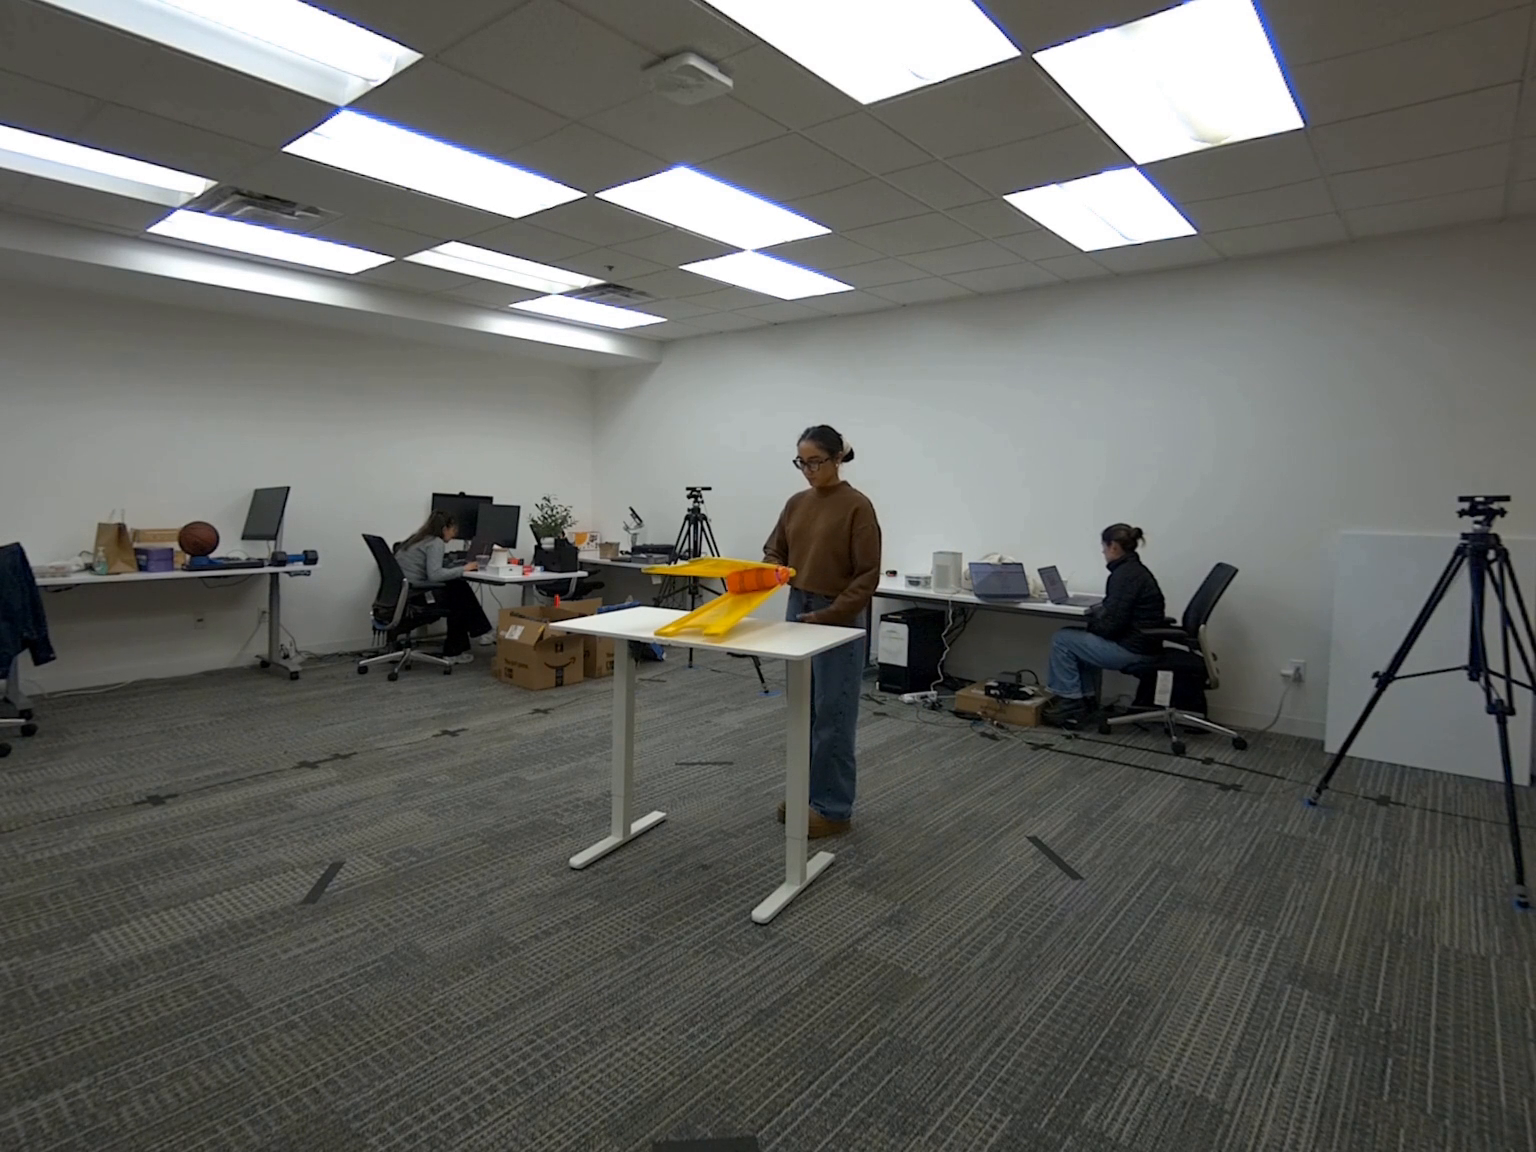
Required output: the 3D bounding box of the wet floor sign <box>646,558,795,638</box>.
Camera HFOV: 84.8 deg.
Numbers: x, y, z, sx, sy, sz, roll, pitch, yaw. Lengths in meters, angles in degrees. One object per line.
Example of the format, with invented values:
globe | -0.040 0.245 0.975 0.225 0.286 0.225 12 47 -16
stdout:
wet floor sign | -0.142 0.034 3.106 0.289 0.289 0.632 -8 4 31
